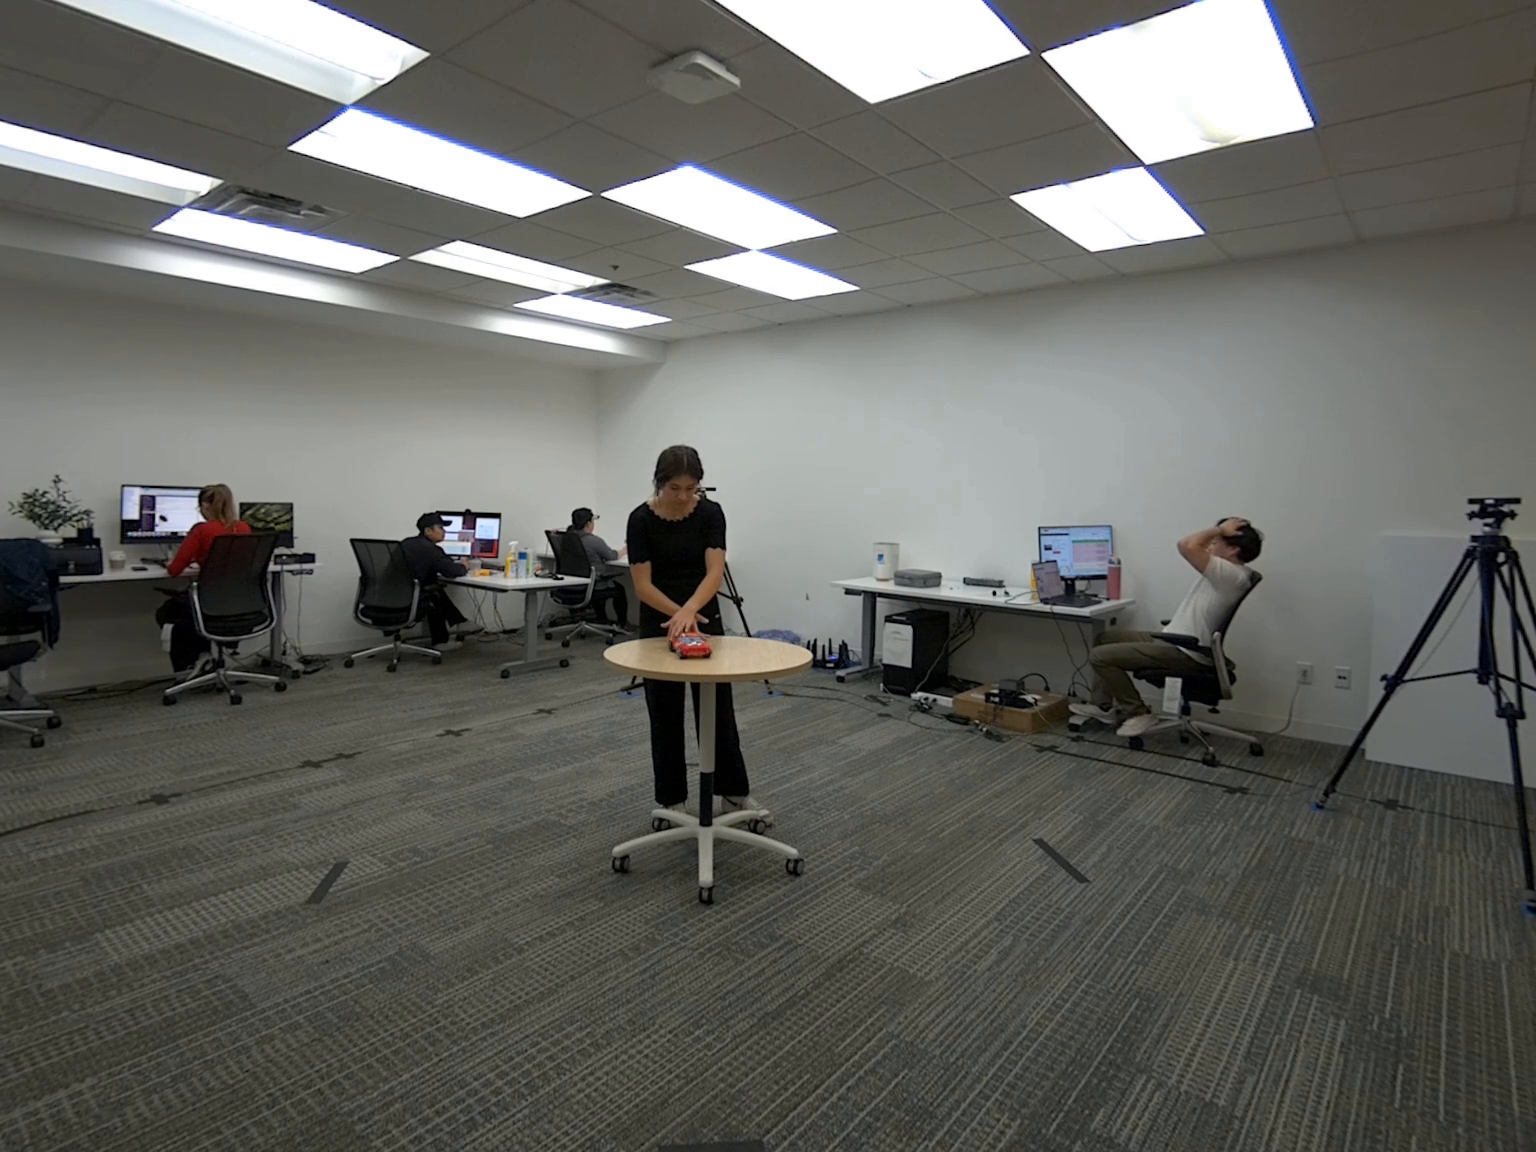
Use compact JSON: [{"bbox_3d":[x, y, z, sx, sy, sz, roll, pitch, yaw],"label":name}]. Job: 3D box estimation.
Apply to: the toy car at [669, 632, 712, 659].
[{"bbox_3d":[-0.299,0.248,3.117,0.128,0.082,0.262,-1,17,-18],"label":"toy car"}]
